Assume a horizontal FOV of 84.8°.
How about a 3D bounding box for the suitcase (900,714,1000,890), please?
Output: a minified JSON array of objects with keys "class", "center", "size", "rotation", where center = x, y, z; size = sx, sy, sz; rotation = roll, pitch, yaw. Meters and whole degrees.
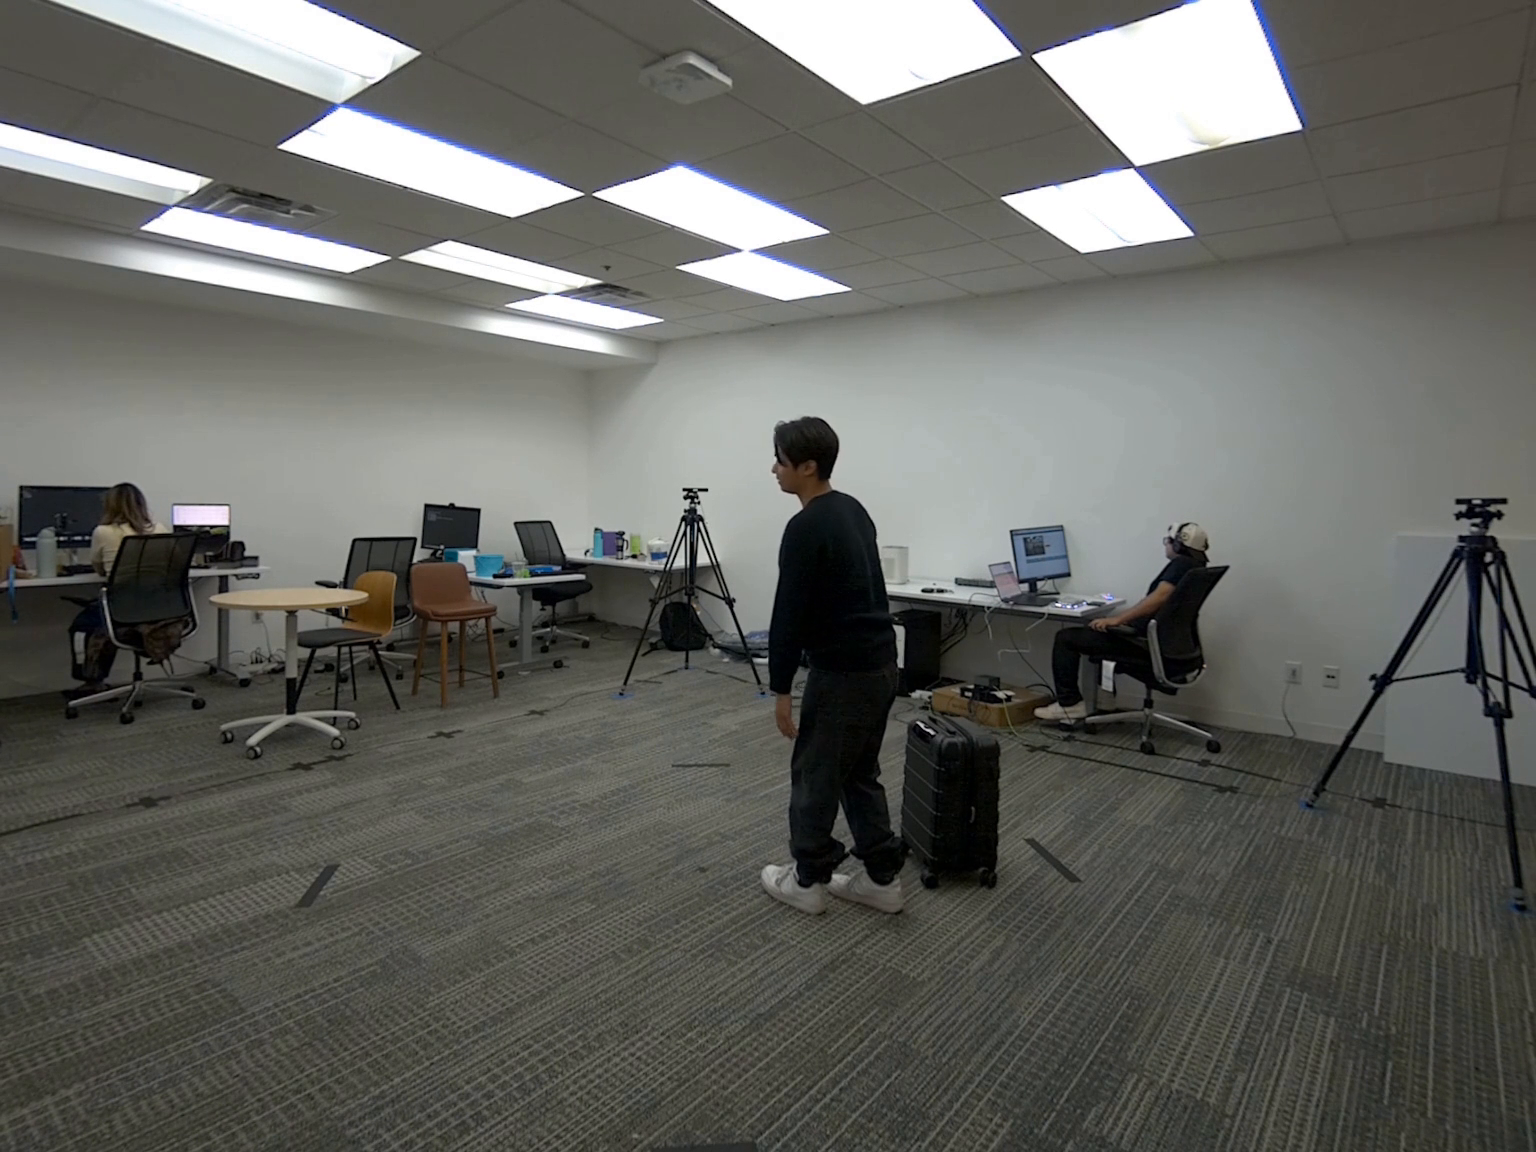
[{"class":"suitcase","center":[0.668,0.807,3.171],"size":[0.245,0.548,0.381],"rotation":[2,3,-11]}]
